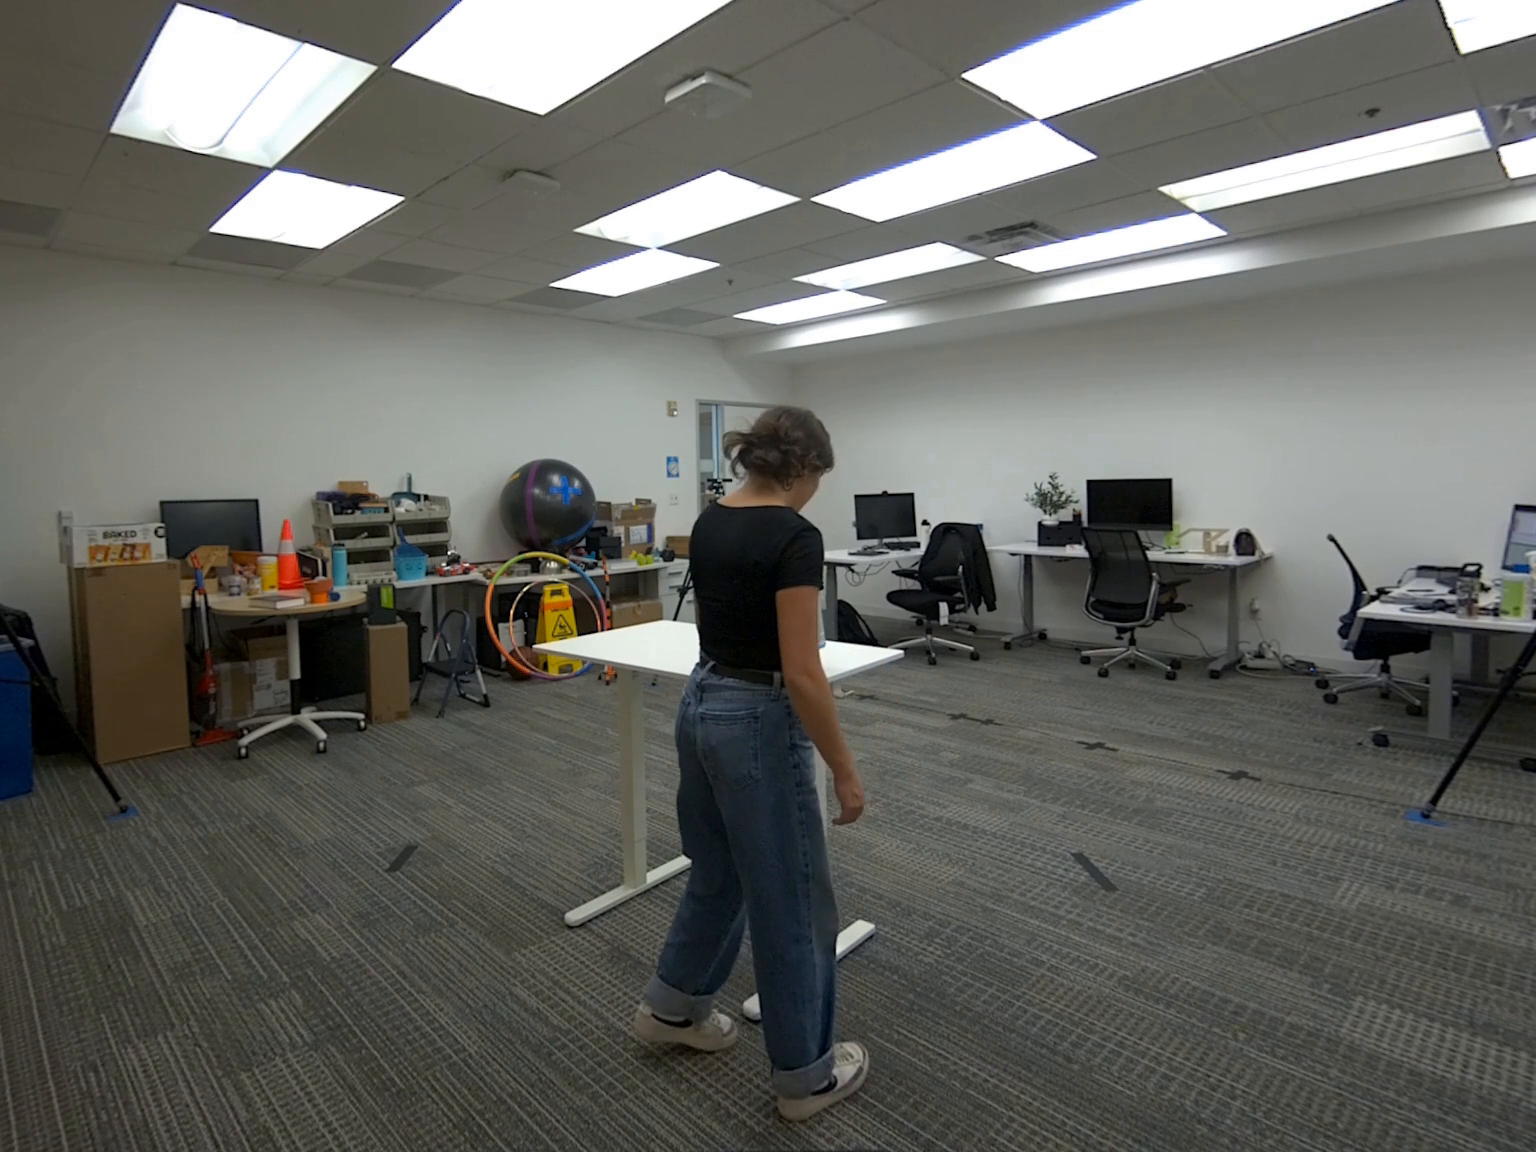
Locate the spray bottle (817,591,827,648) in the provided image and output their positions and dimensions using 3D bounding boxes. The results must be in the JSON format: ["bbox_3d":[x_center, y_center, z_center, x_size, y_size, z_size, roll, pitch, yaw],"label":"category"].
[{"bbox_3d":[0.096,0.051,2.273,0.088,0.296,0.089,-13,7,-37],"label":"spray bottle"}]
